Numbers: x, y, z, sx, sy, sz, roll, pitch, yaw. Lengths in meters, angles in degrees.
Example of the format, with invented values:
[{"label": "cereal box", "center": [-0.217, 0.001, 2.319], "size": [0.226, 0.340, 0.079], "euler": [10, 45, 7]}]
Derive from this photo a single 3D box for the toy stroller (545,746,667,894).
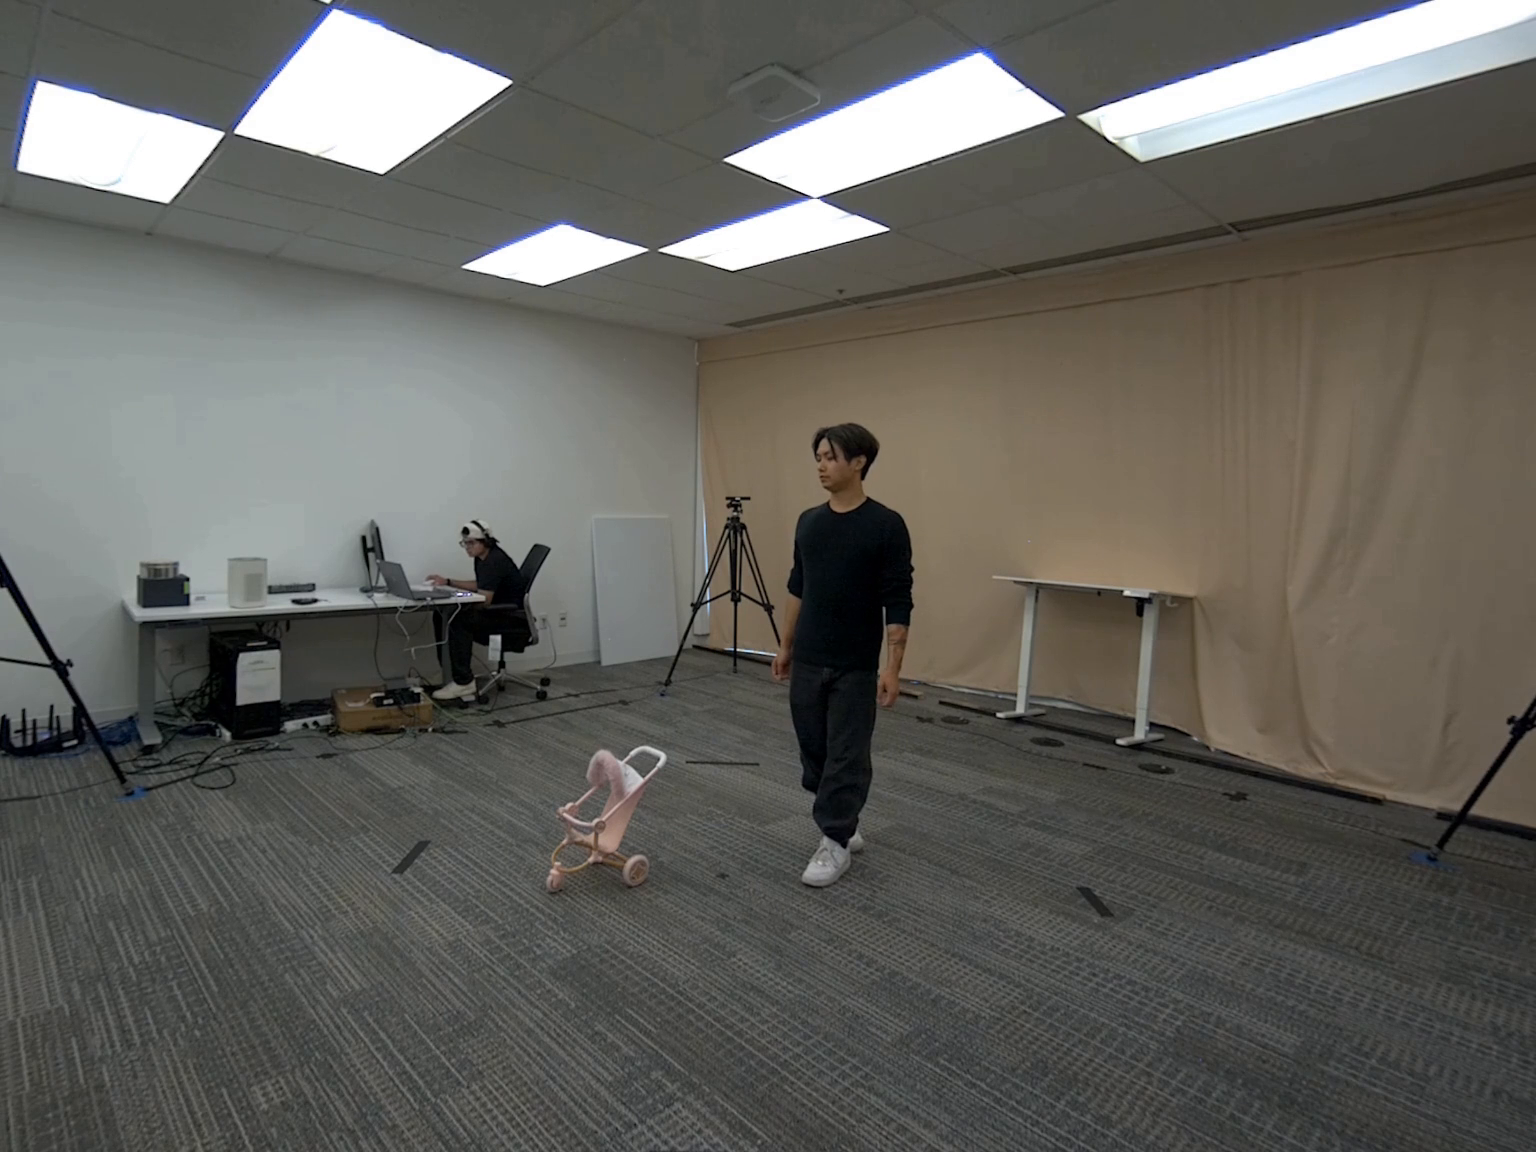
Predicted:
[{"label": "toy stroller", "center": [-0.607, 0.878, 3.053], "size": [0.332, 0.537, 0.288], "euler": [17, -7, -36]}]
